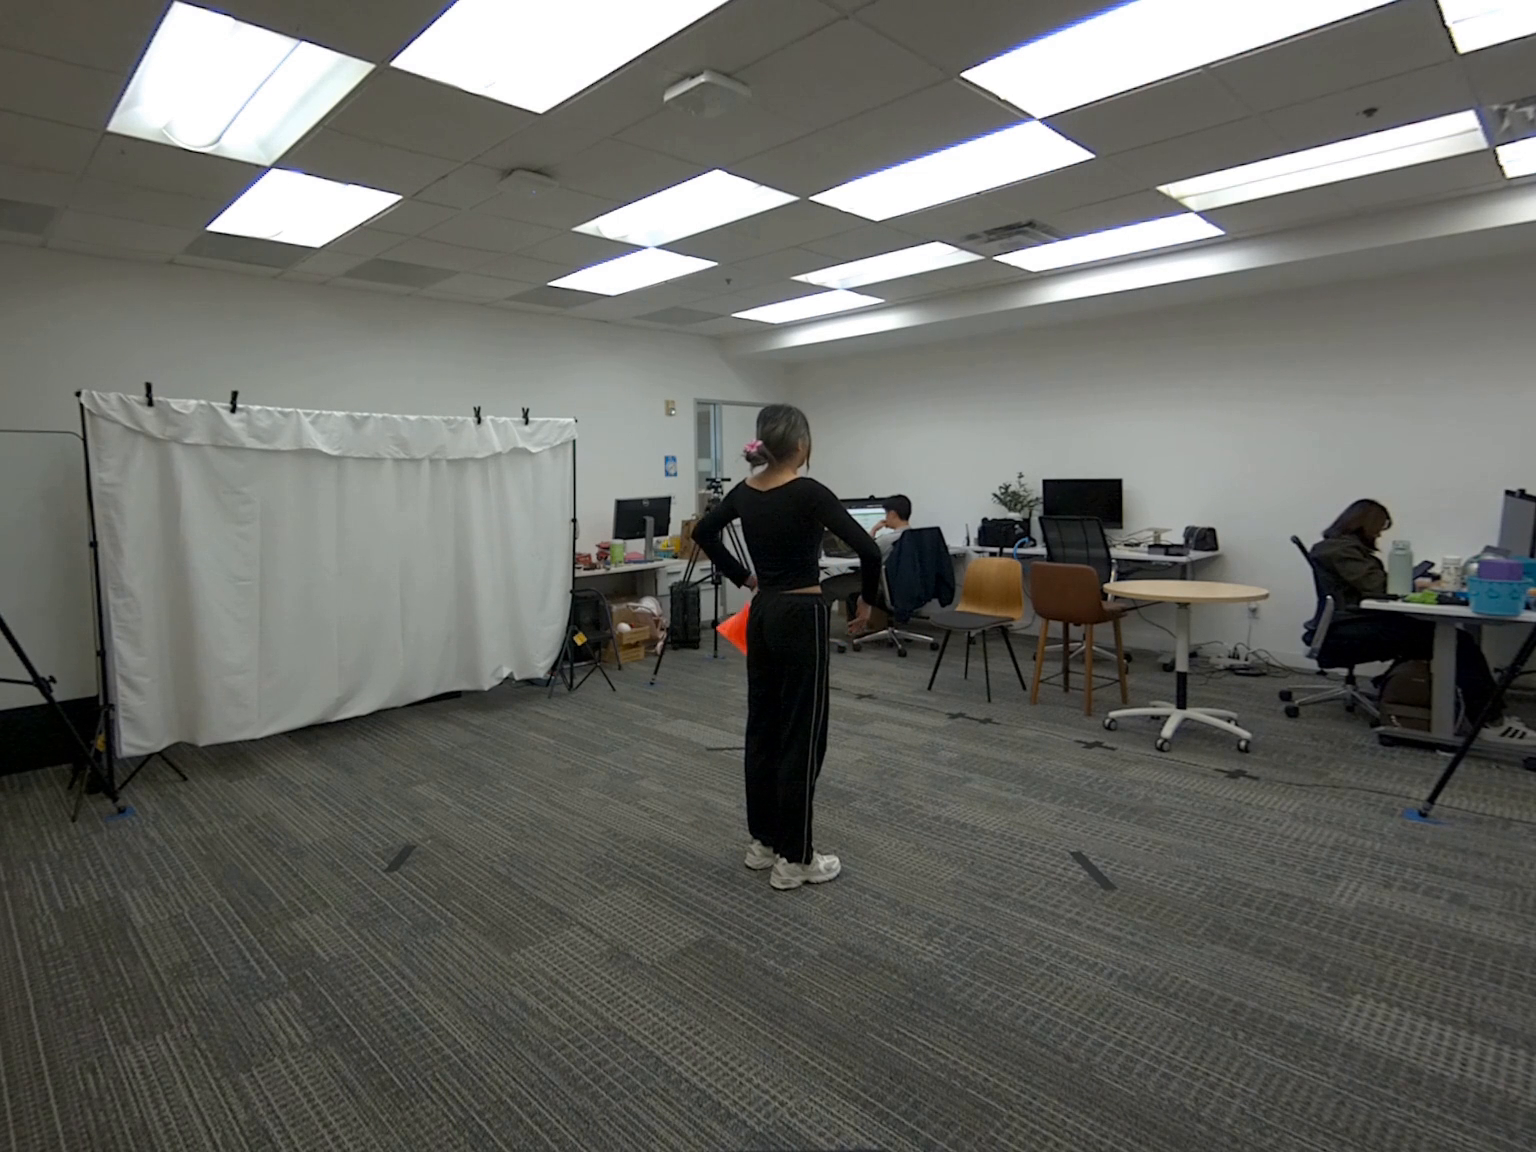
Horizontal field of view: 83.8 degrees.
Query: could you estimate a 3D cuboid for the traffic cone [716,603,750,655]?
[{"bbox_3d":[-0.009,0.093,3.266,0.210,0.377,0.202,36,45,18],"label":"traffic cone"}]
